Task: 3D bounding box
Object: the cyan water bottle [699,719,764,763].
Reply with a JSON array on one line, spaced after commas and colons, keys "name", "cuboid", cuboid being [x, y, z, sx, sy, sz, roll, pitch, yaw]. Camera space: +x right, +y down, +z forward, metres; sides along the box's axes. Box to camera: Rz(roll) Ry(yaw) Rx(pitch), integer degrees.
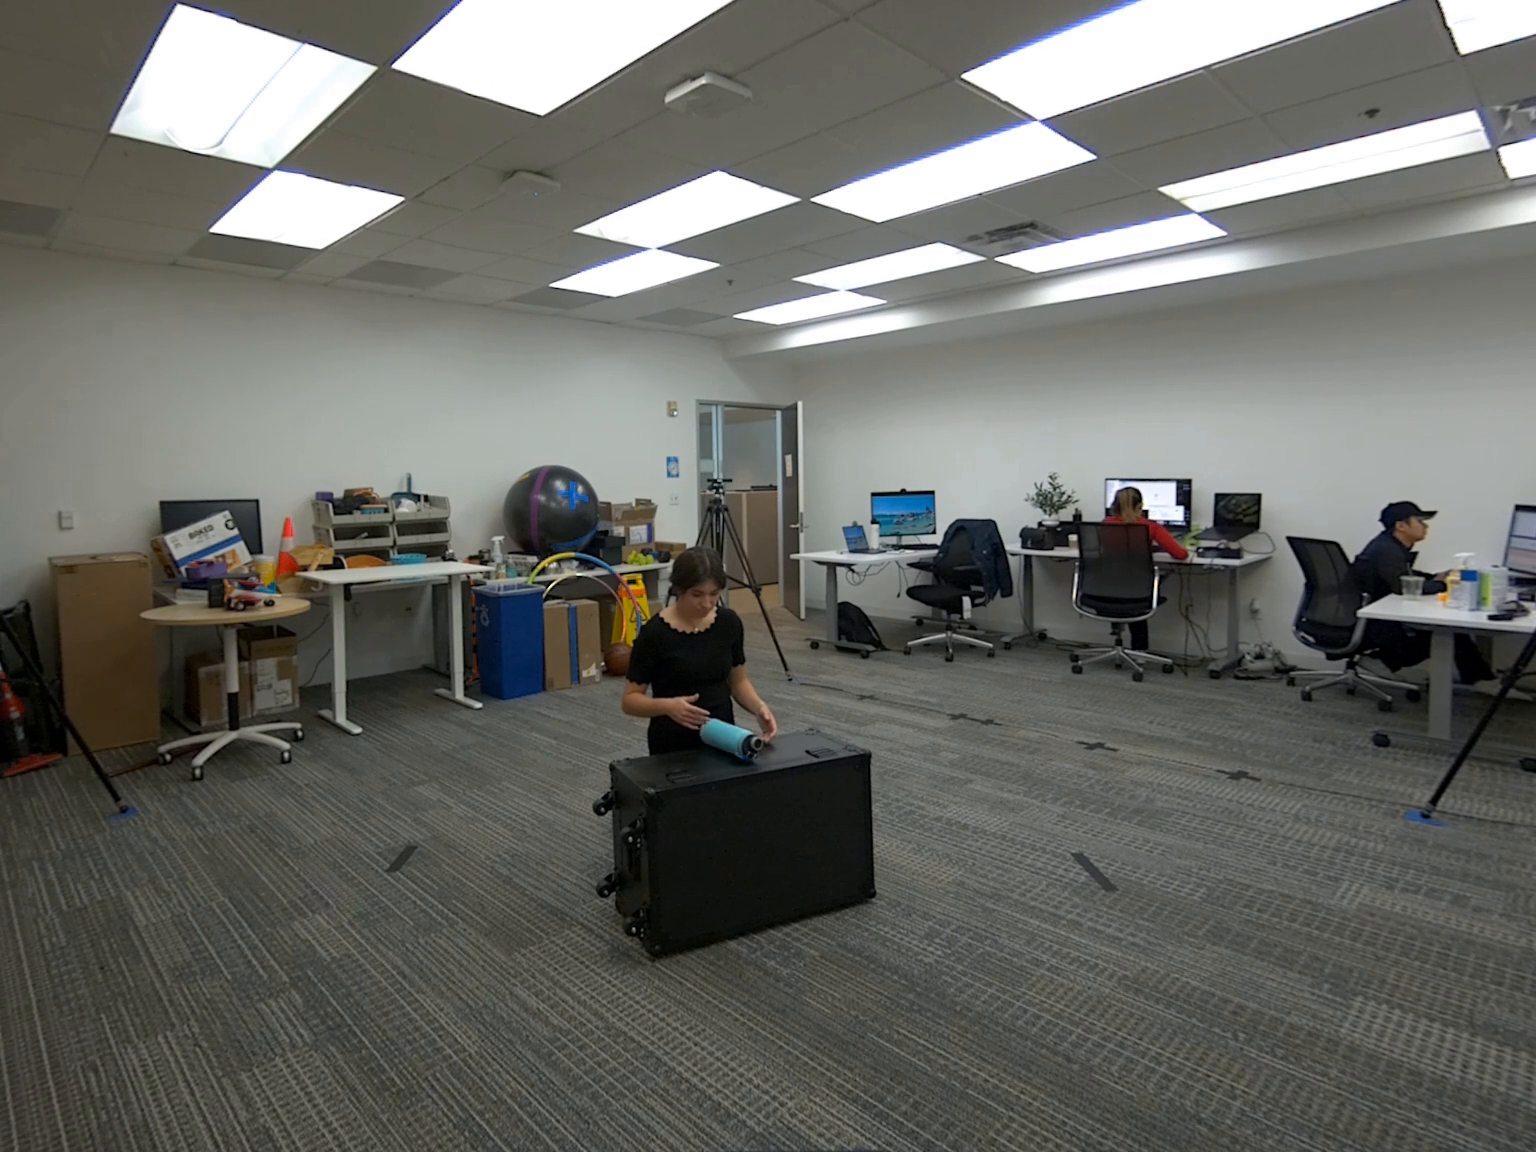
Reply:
[{"name": "cyan water bottle", "cuboid": [-0.113, 0.546, 2.828, 0.090, 0.092, 0.291, -4, 3, -33]}]
